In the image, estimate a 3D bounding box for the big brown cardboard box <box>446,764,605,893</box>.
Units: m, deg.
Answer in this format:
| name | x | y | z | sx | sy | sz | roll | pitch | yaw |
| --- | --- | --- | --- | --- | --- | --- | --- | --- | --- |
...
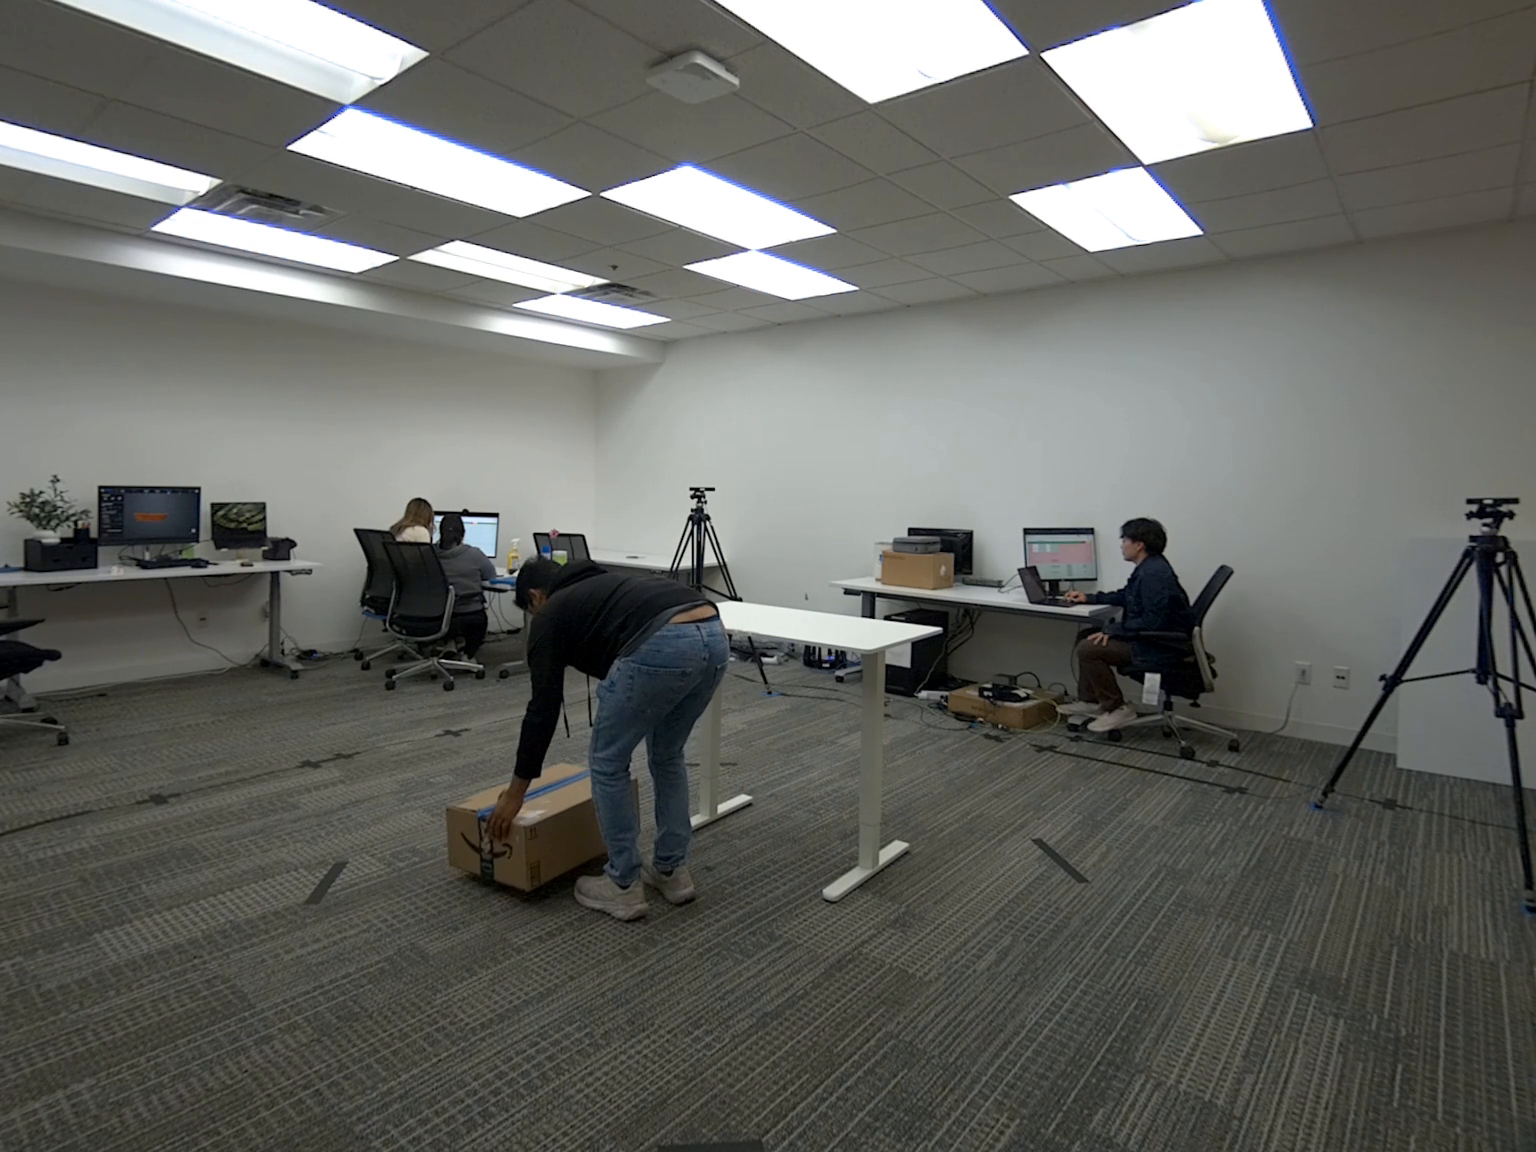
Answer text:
| name | x | y | z | sx | sy | sz | roll | pitch | yaw |
| --- | --- | --- | --- | --- | --- | --- | --- | --- | --- |
| big brown cardboard box | -0.826 | 0.868 | 3.093 | 0.430 | 0.233 | 0.573 | 0 | 4 | 33 |
